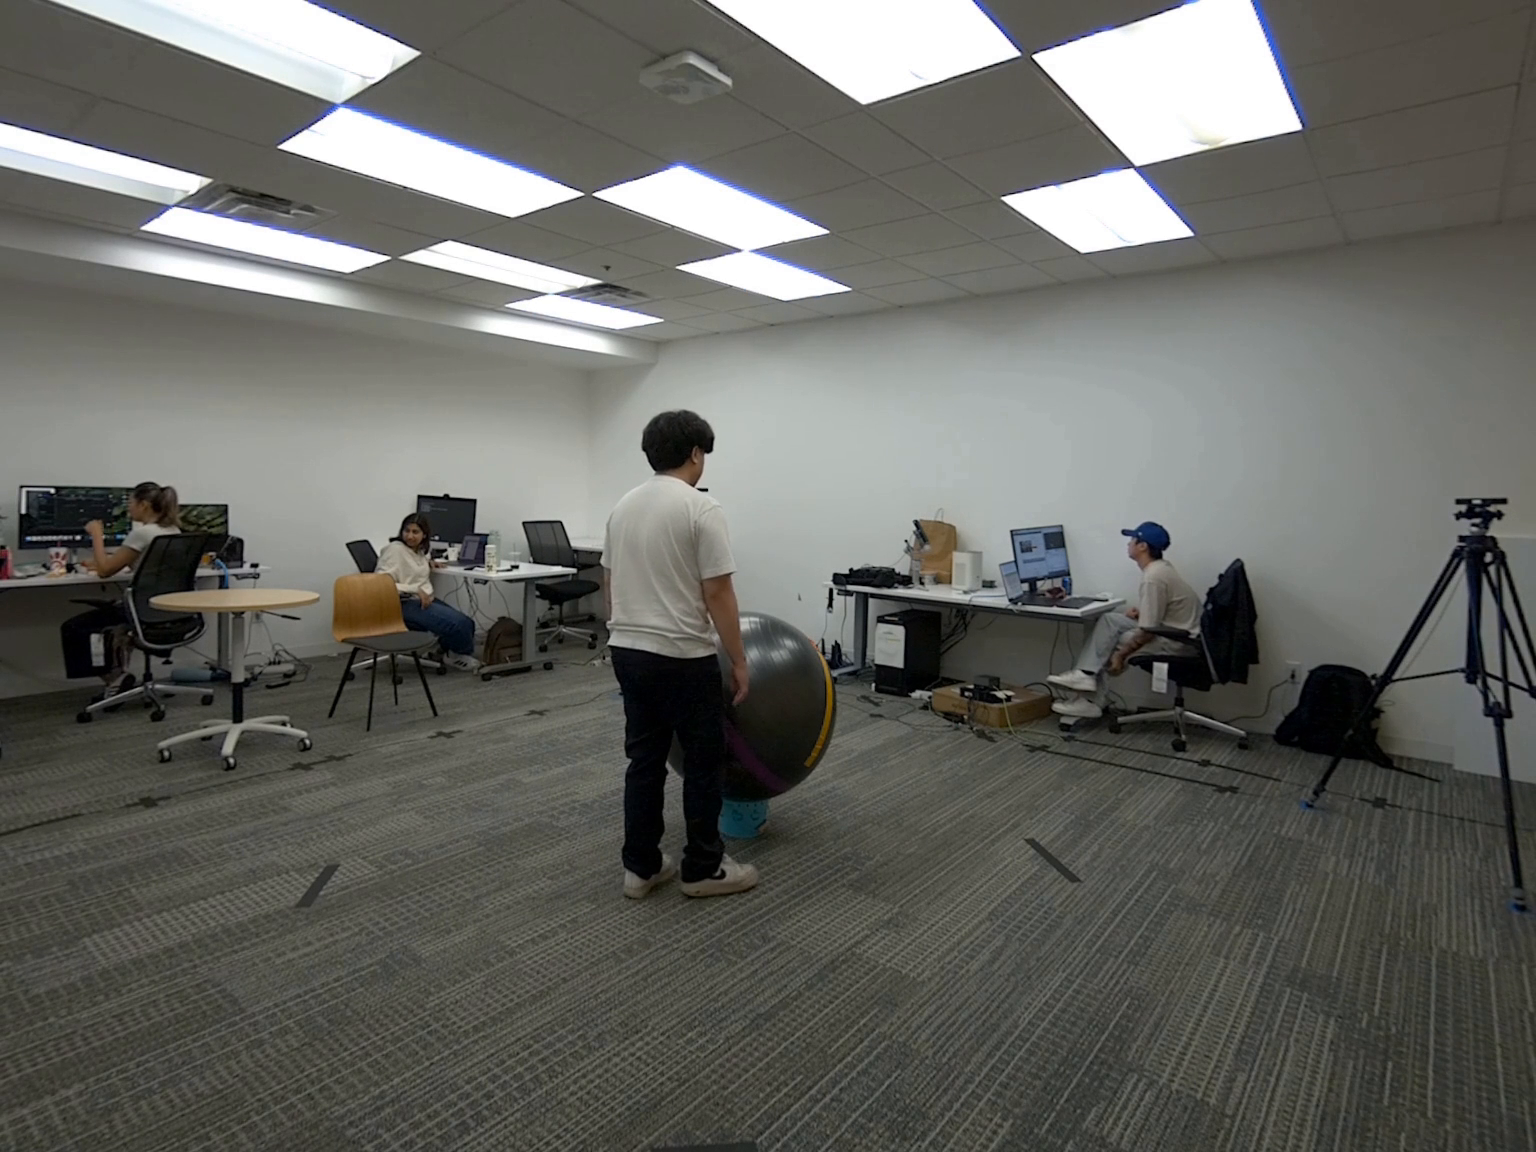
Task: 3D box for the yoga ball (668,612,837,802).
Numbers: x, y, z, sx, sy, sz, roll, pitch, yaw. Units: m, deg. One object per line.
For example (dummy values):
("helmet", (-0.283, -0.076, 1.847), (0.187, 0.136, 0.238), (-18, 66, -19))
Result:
("yoga ball", (-0.107, 0.523, 3.469), (0.757, 0.755, 0.762), (1, 4, -2))
